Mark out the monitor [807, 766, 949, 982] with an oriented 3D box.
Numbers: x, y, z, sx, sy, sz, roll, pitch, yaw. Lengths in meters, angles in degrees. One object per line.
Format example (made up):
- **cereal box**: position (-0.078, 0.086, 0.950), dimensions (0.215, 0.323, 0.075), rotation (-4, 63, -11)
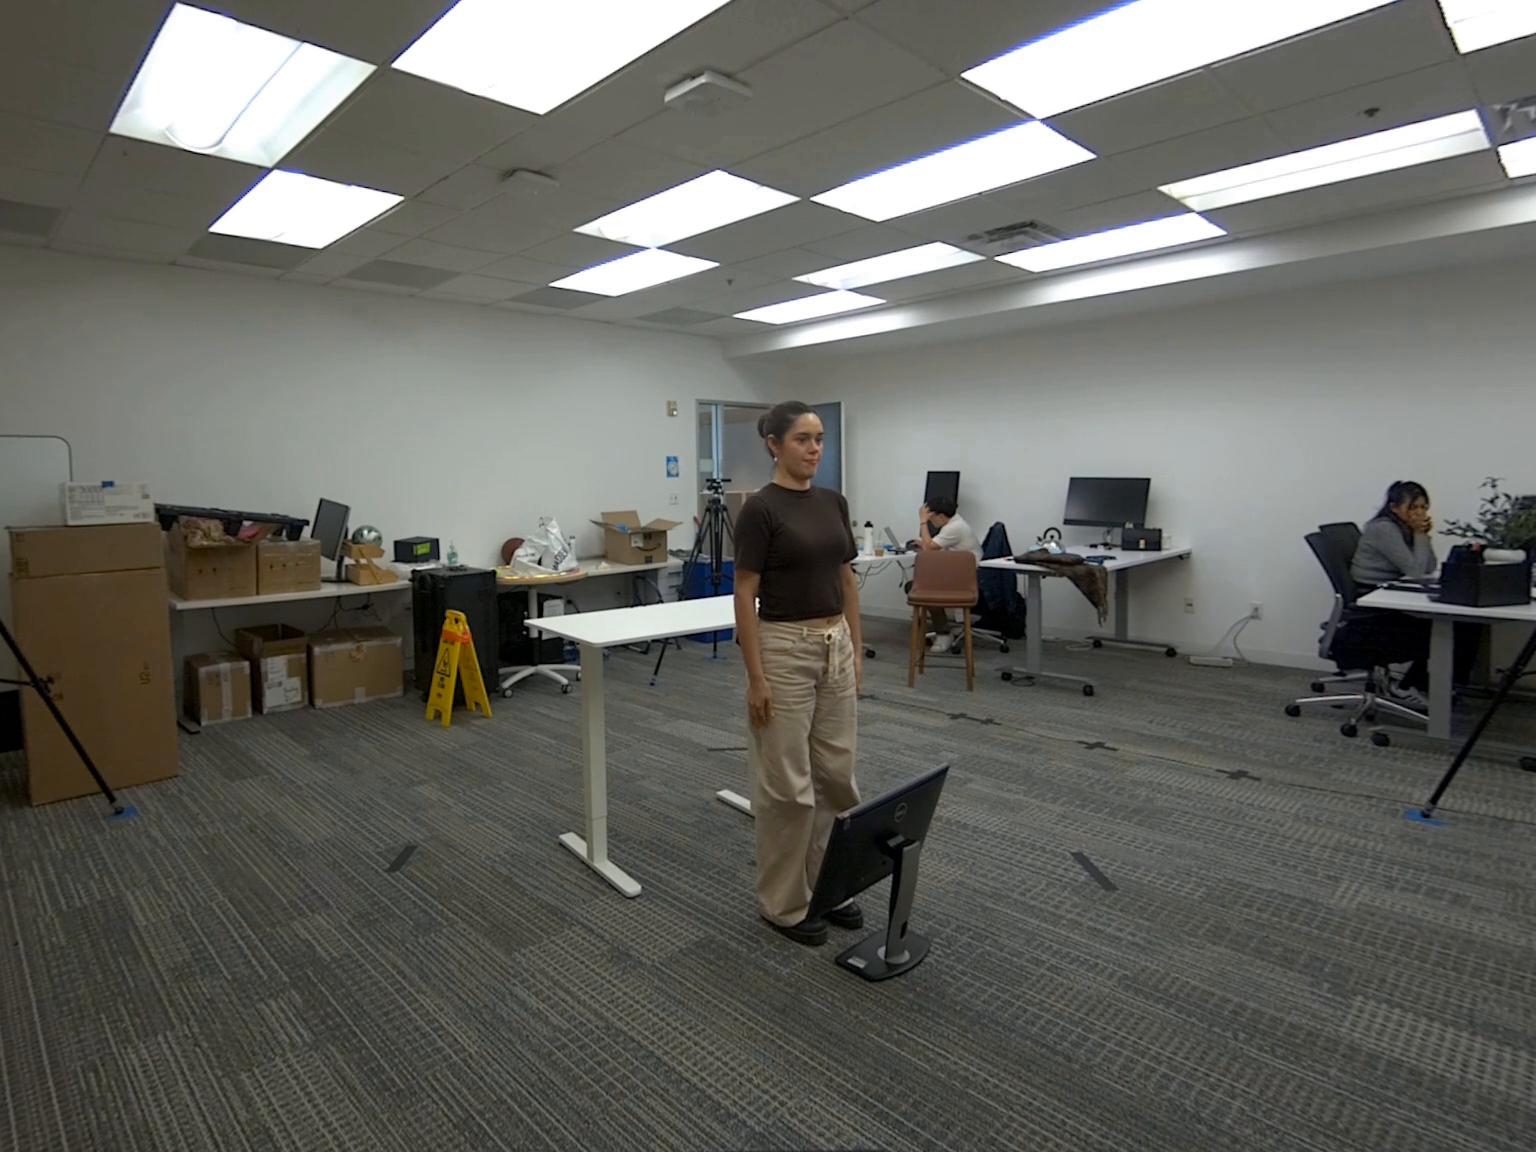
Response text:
- **monitor**: position (0.360, 0.861, 2.455), dimensions (0.193, 0.518, 0.525), rotation (11, 13, 44)
